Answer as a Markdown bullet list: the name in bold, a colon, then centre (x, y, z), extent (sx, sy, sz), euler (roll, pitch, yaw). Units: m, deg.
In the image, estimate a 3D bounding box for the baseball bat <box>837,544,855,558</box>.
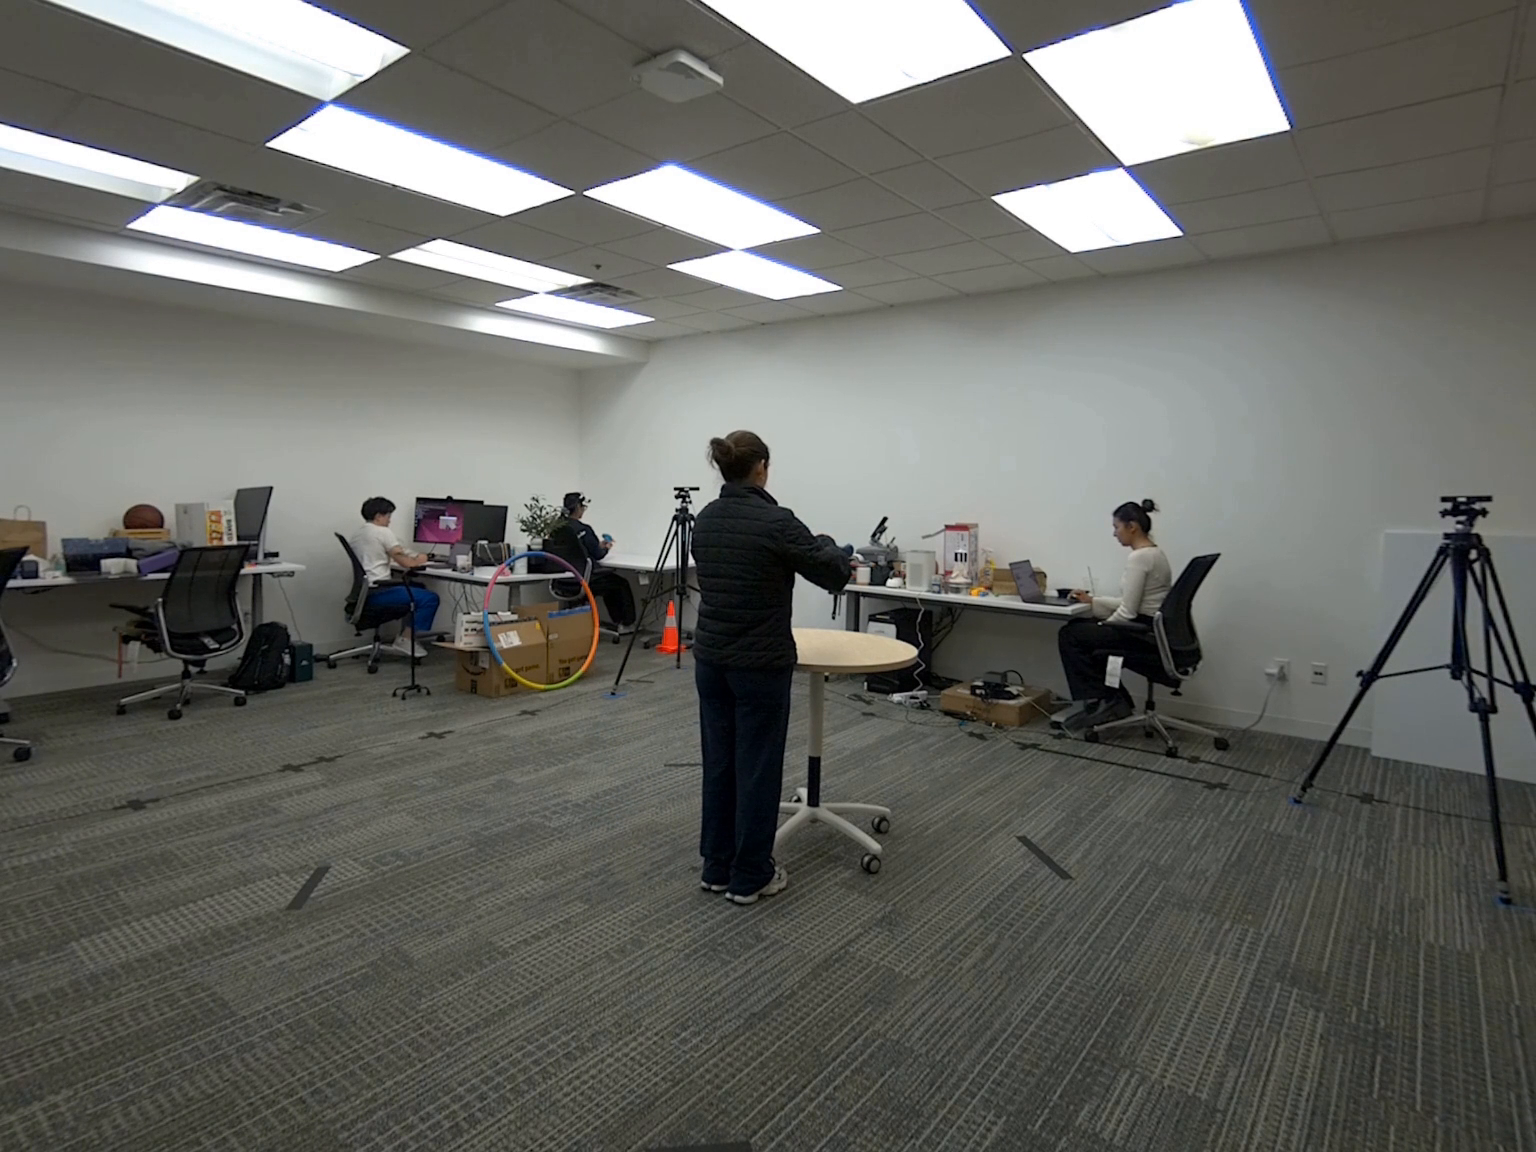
- **baseball bat**: centre (0.131, -0.132, 3.279), extent (0.086, 0.088, 0.563), euler (-3, 10, -44)
